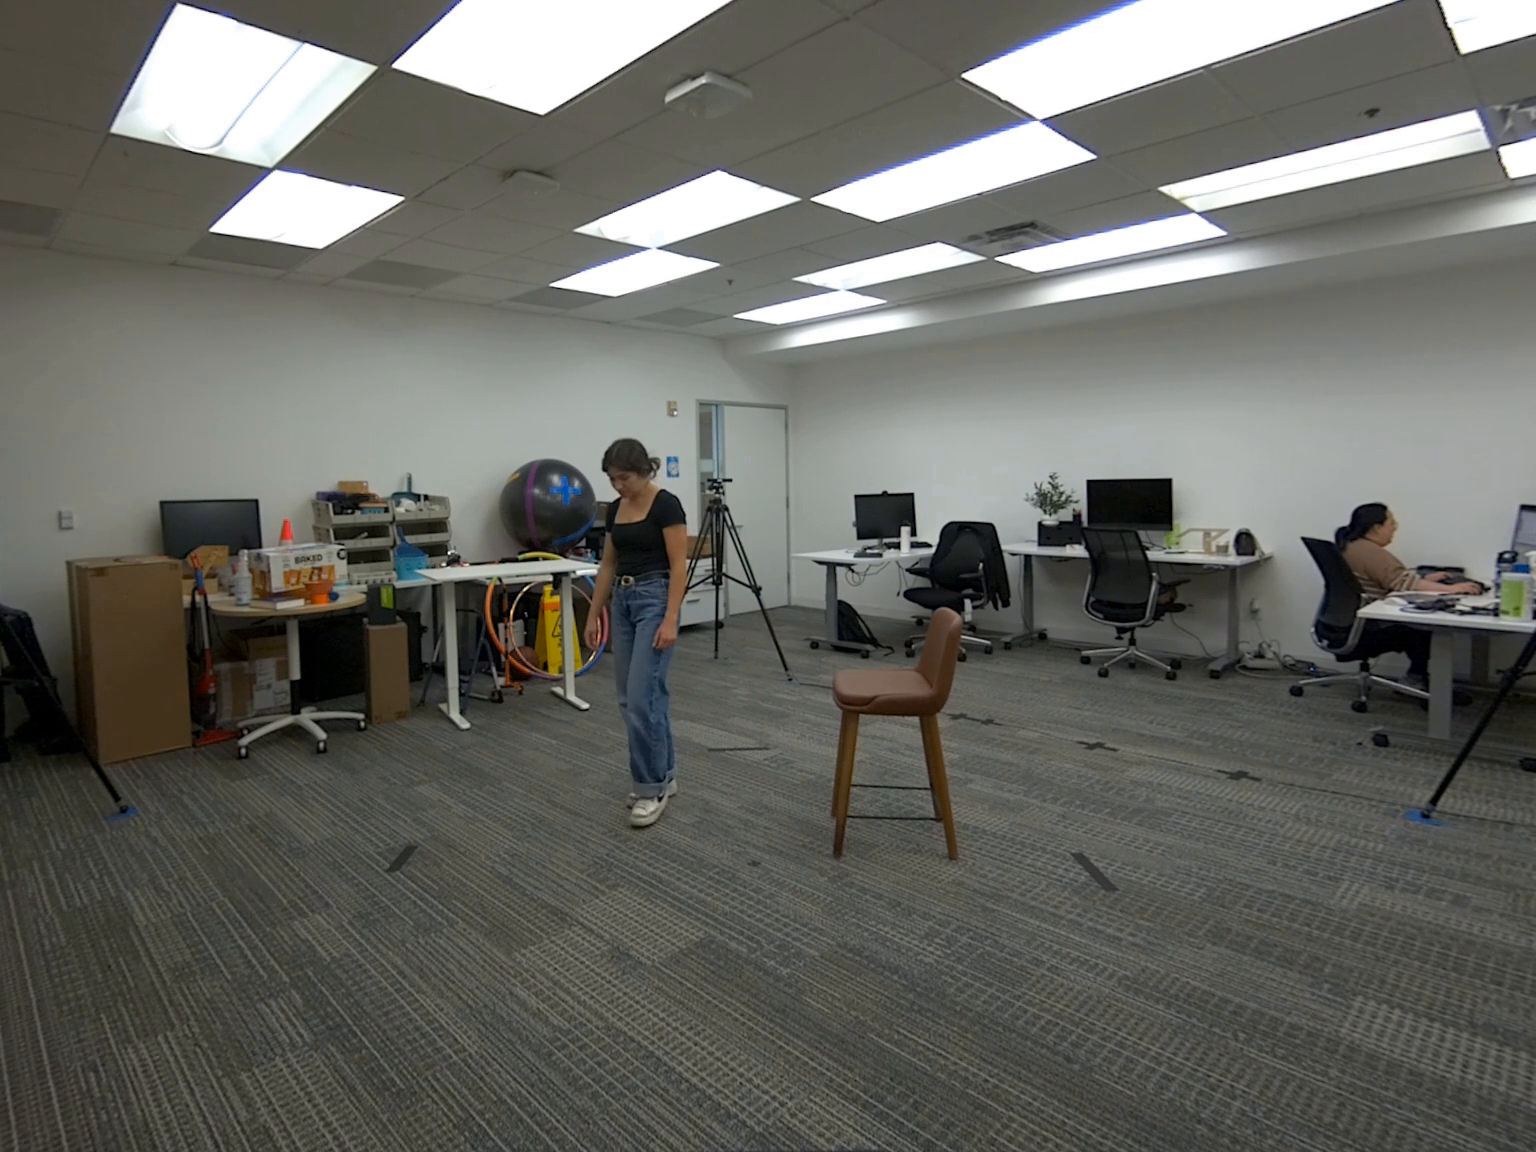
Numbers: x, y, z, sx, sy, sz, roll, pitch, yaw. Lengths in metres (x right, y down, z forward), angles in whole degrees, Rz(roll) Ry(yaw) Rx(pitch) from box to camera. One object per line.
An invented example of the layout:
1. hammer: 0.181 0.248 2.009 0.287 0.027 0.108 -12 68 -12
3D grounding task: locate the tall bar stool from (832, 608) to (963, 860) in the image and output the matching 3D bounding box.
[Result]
1. tall bar stool: 0.479 0.578 3.289 0.470 0.887 0.456 1 4 4
